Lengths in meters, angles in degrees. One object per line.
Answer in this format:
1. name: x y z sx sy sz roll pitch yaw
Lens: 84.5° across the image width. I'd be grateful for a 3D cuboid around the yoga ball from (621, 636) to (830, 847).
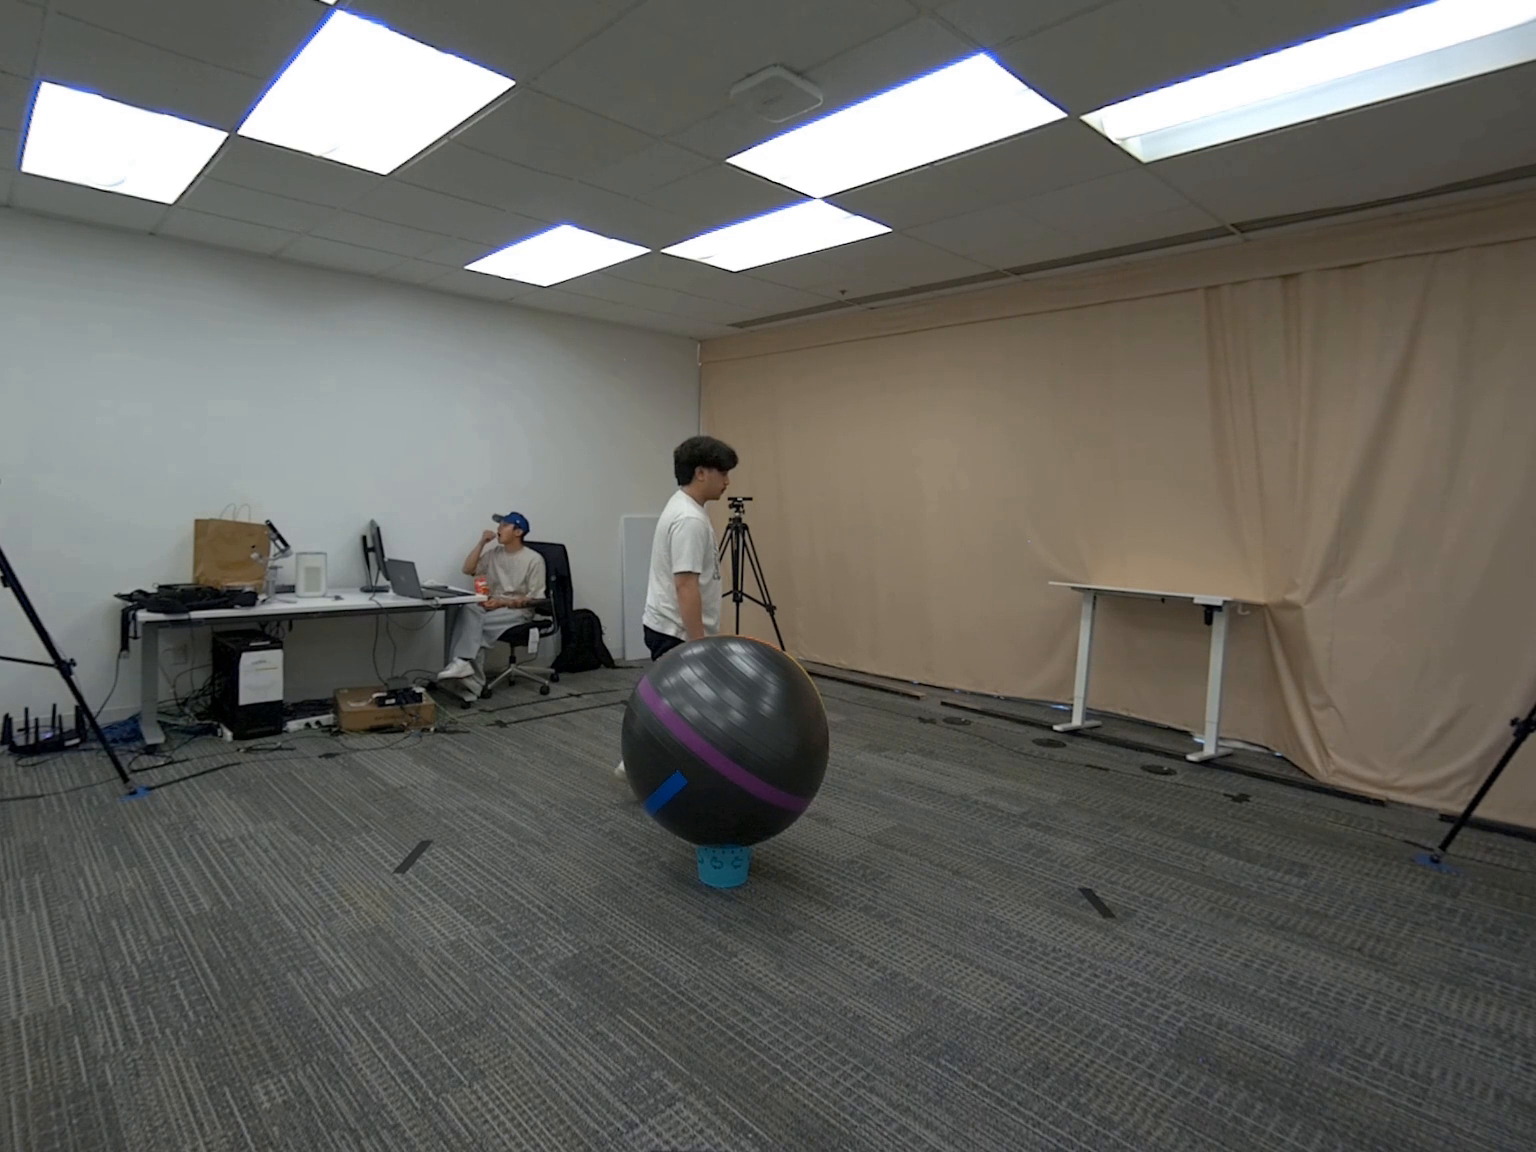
1. yoga ball: -0.157 0.599 3.083 0.757 0.756 0.761 1 4 -1
